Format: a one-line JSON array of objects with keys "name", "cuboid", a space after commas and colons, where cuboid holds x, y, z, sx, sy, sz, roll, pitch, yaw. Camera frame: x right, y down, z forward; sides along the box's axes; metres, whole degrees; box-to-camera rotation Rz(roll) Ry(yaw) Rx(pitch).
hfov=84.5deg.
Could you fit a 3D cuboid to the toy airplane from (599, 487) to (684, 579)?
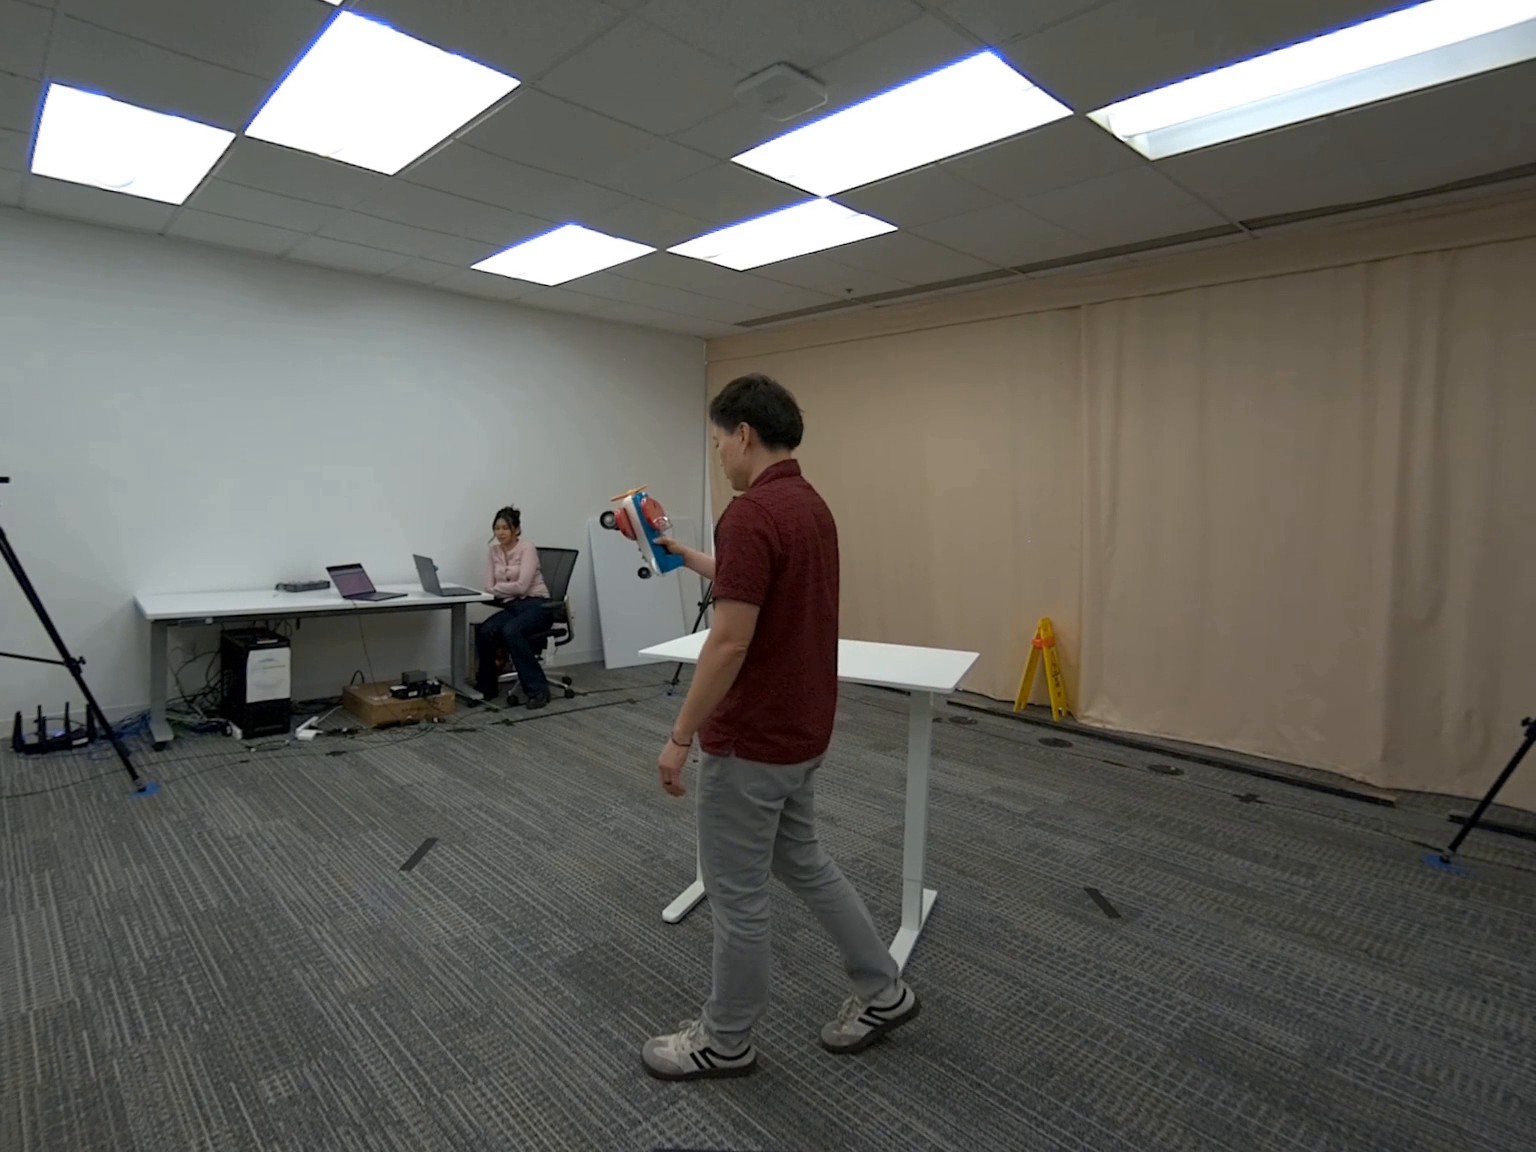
[{"name": "toy airplane", "cuboid": [-0.360, -0.119, 2.413, 0.156, 0.253, 0.257, -35, 24, 2]}]
